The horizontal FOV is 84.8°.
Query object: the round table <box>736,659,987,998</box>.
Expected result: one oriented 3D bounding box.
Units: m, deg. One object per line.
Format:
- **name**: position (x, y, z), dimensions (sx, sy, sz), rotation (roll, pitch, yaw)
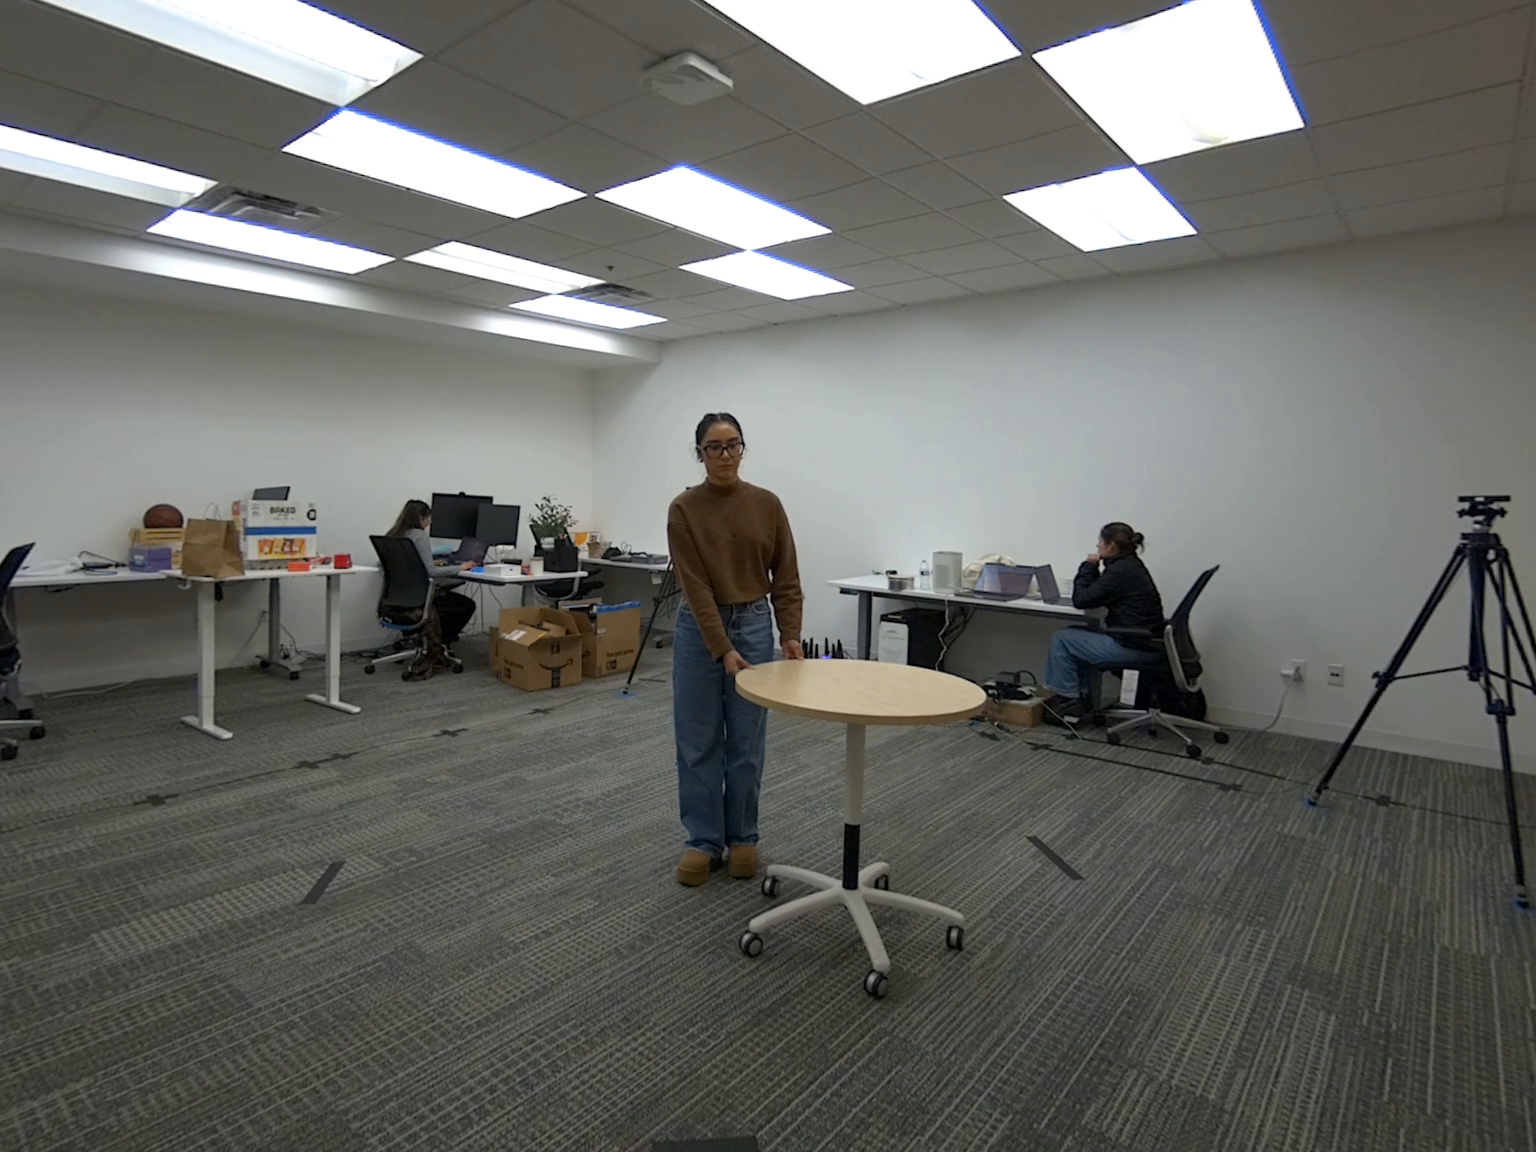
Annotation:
- **round table**: position (0.242, 0.724, 2.661), dimensions (0.784, 0.784, 0.789), rotation (2, 4, -2)
